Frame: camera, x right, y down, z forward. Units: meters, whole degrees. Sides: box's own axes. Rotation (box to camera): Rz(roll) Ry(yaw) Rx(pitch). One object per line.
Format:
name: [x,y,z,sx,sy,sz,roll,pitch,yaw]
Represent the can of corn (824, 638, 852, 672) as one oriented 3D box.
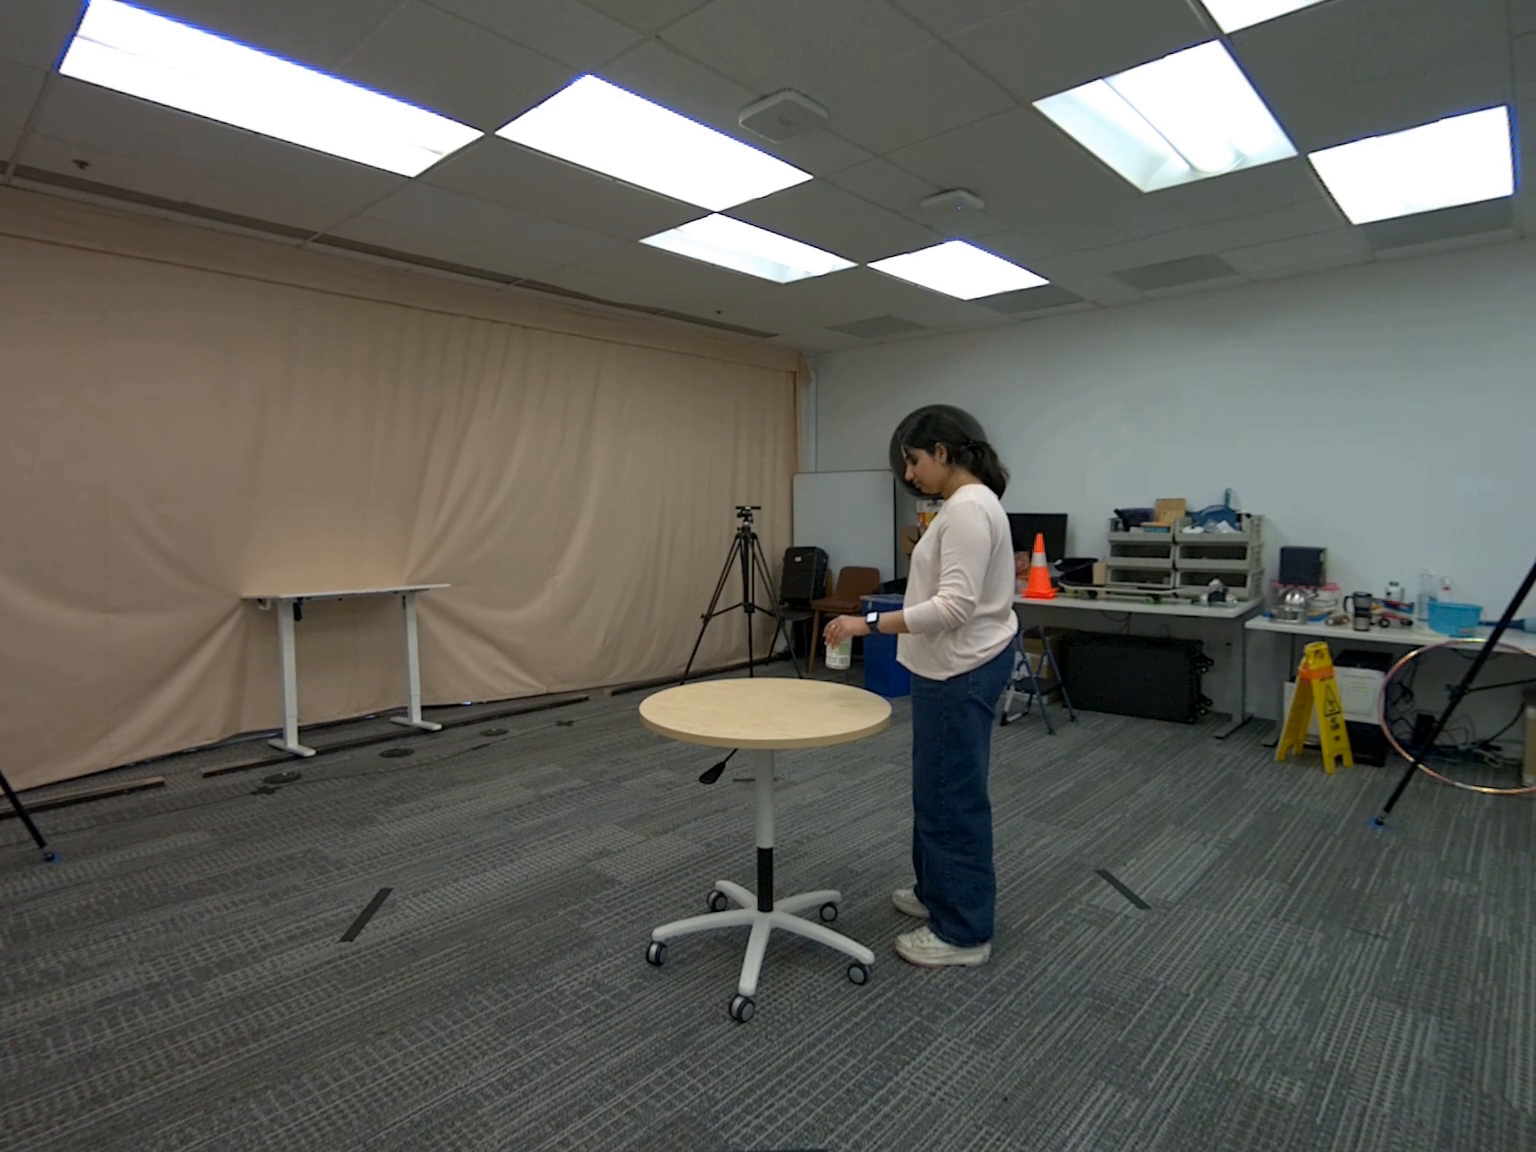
can of corn: [0.231,0.228,2.597,0.074,0.110,0.074,6,7,-3]
